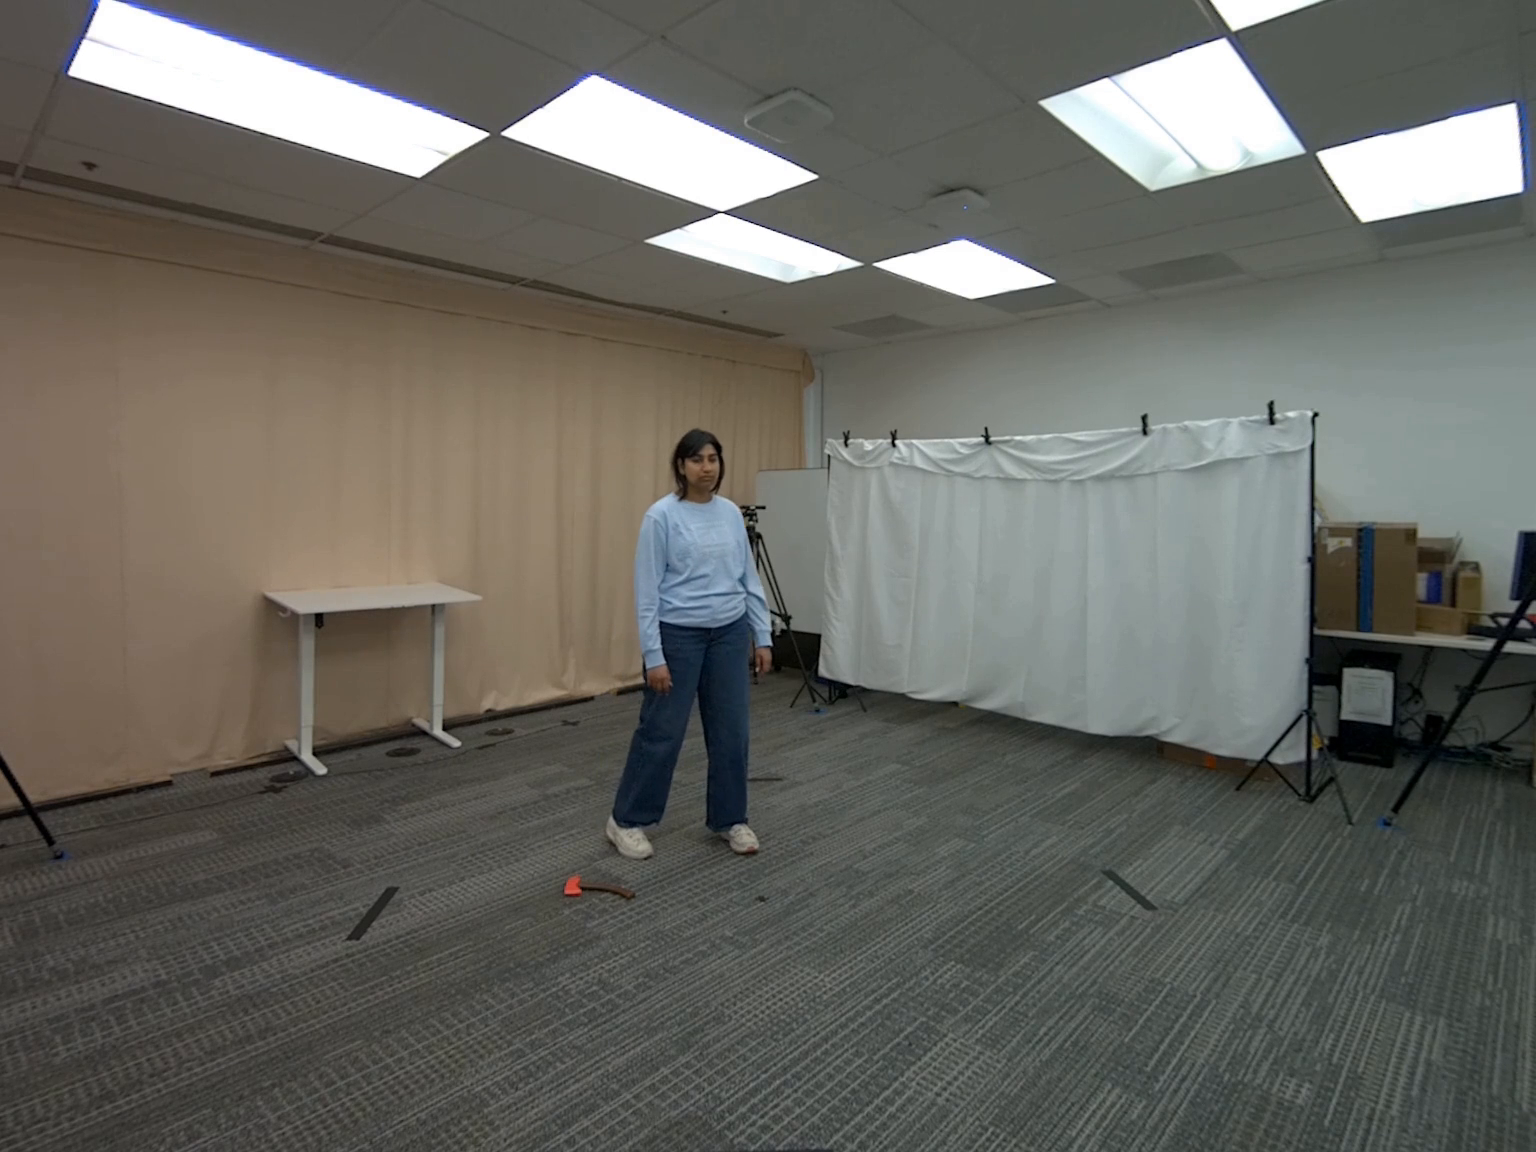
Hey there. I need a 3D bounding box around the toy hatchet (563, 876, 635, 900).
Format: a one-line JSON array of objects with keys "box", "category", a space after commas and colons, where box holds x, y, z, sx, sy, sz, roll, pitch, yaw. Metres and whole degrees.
[{"box": [-0.611, 1.122, 3.022, 0.278, 0.029, 0.128, 3, 5, 29], "category": "toy hatchet"}]
